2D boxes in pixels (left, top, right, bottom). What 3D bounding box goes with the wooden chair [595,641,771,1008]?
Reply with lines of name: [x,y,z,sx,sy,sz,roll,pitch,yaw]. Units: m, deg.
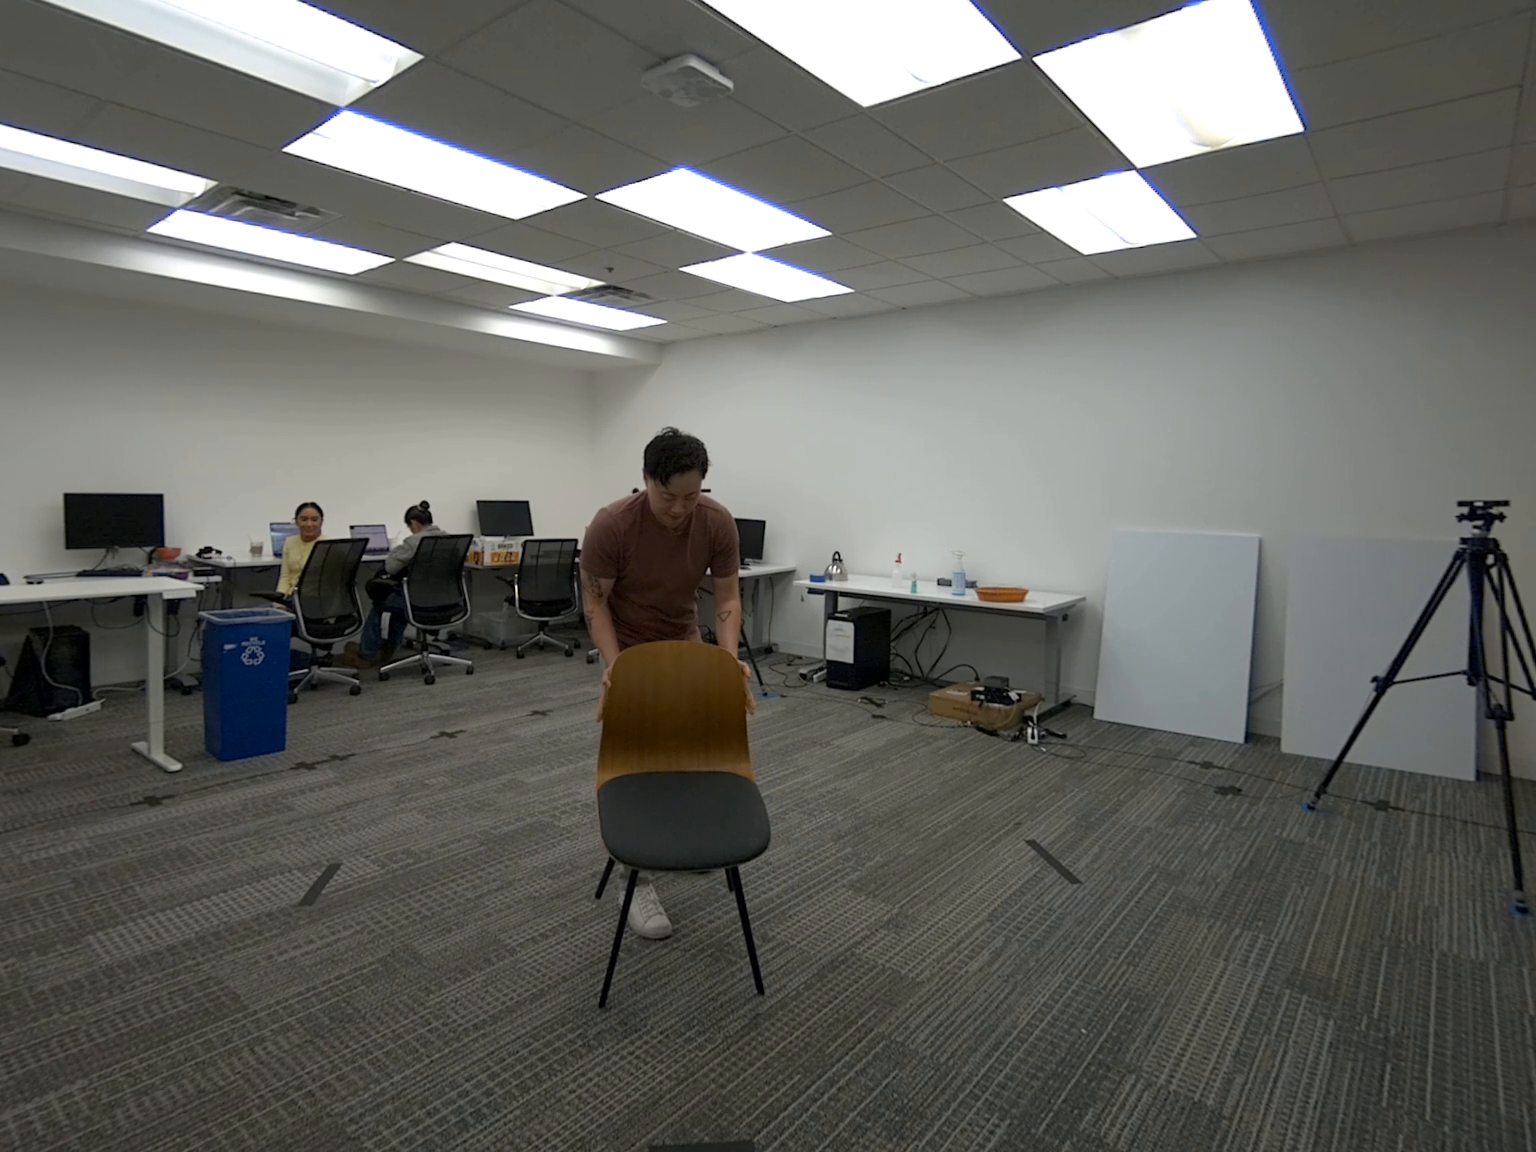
wooden chair: [-0.253,0.680,2.407,0.473,0.870,0.534,1,10,-11]
